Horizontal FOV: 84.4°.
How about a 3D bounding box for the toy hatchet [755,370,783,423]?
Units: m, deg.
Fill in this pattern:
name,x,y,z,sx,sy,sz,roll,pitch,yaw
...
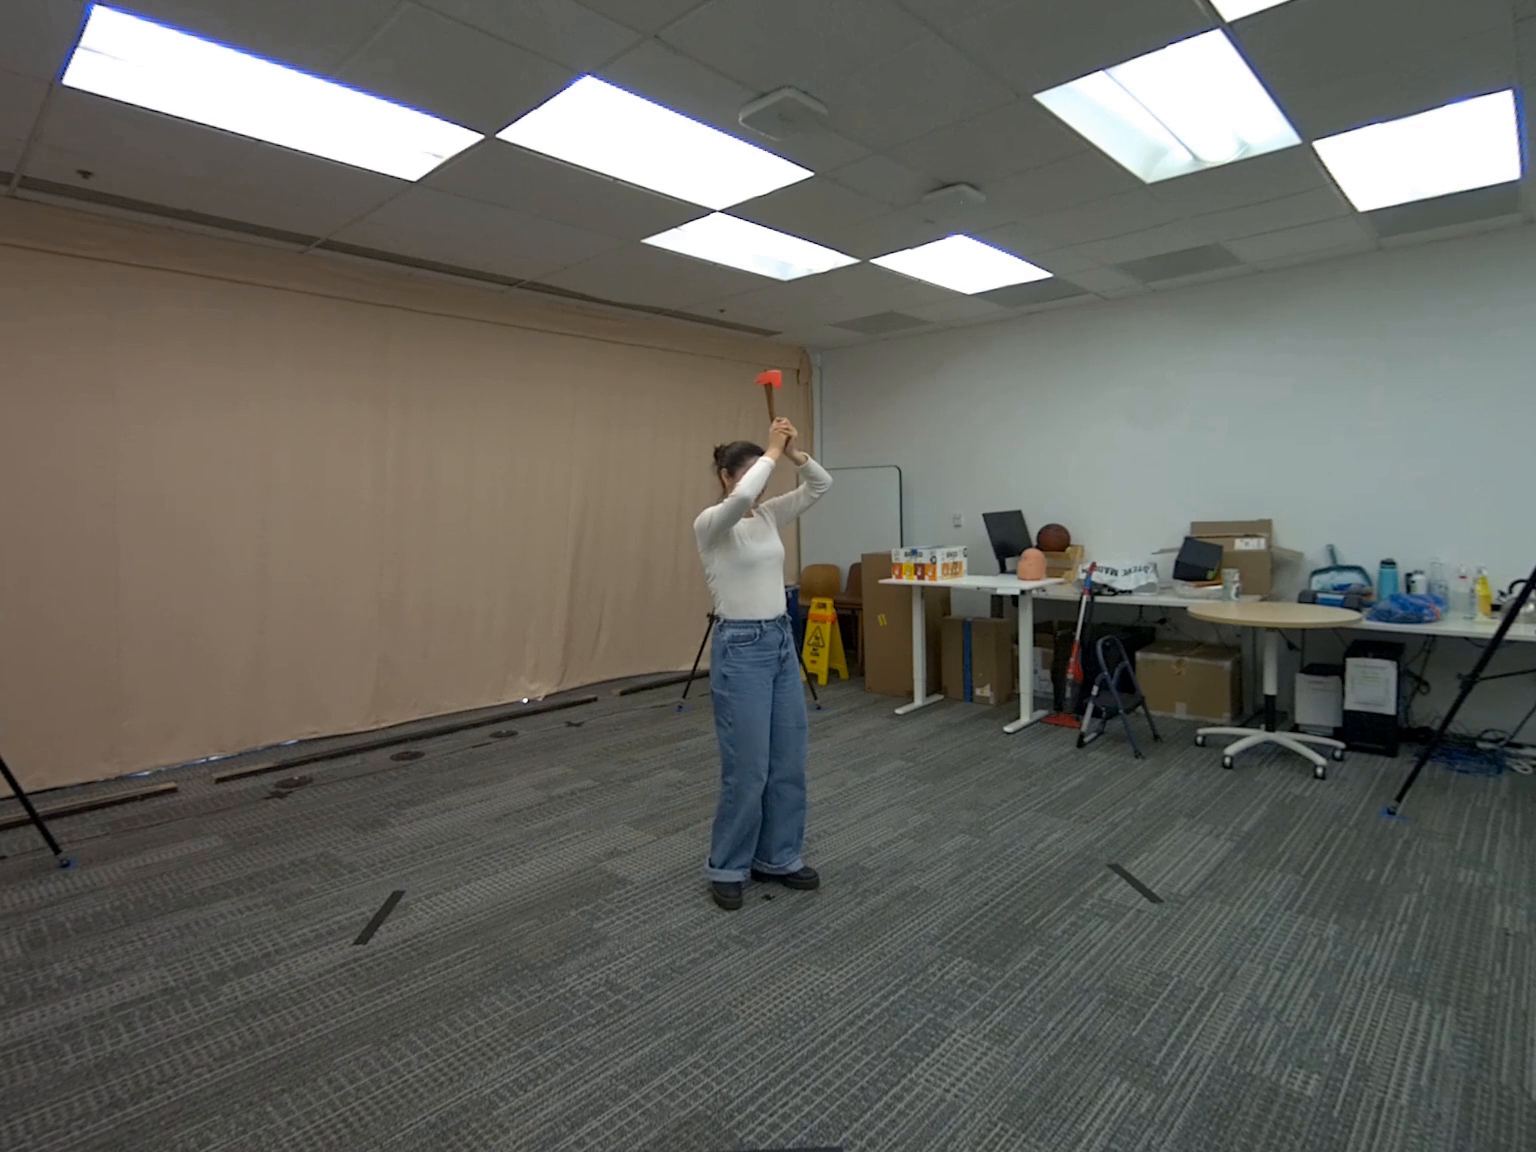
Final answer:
name,x,y,z,sx,sy,sz,roll,pitch,yaw
toy hatchet,0.038,-0.593,2.891,0.029,0.274,0.133,-10,-17,-39
